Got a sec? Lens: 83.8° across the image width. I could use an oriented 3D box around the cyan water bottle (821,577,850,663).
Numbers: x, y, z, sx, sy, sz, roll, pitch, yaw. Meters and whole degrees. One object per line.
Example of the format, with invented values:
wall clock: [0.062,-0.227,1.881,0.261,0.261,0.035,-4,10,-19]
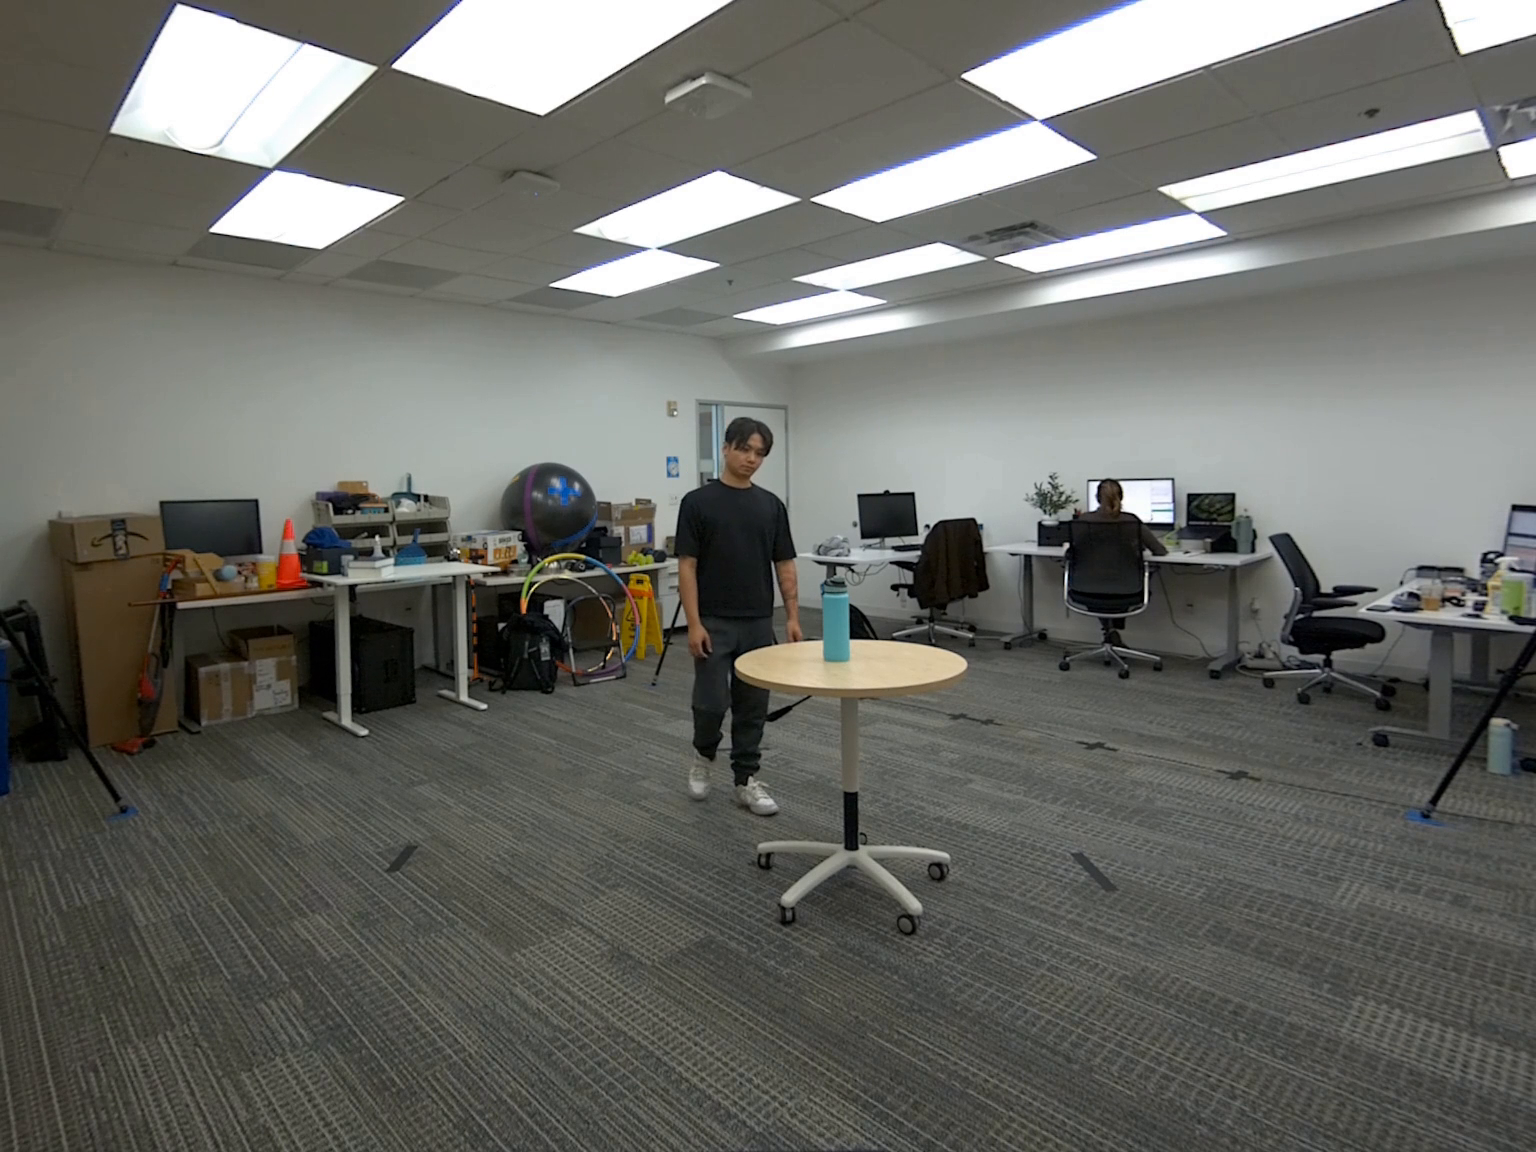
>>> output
cyan water bottle: [0.233,0.147,2.885,0.092,0.283,0.092,-3,2,-1]
